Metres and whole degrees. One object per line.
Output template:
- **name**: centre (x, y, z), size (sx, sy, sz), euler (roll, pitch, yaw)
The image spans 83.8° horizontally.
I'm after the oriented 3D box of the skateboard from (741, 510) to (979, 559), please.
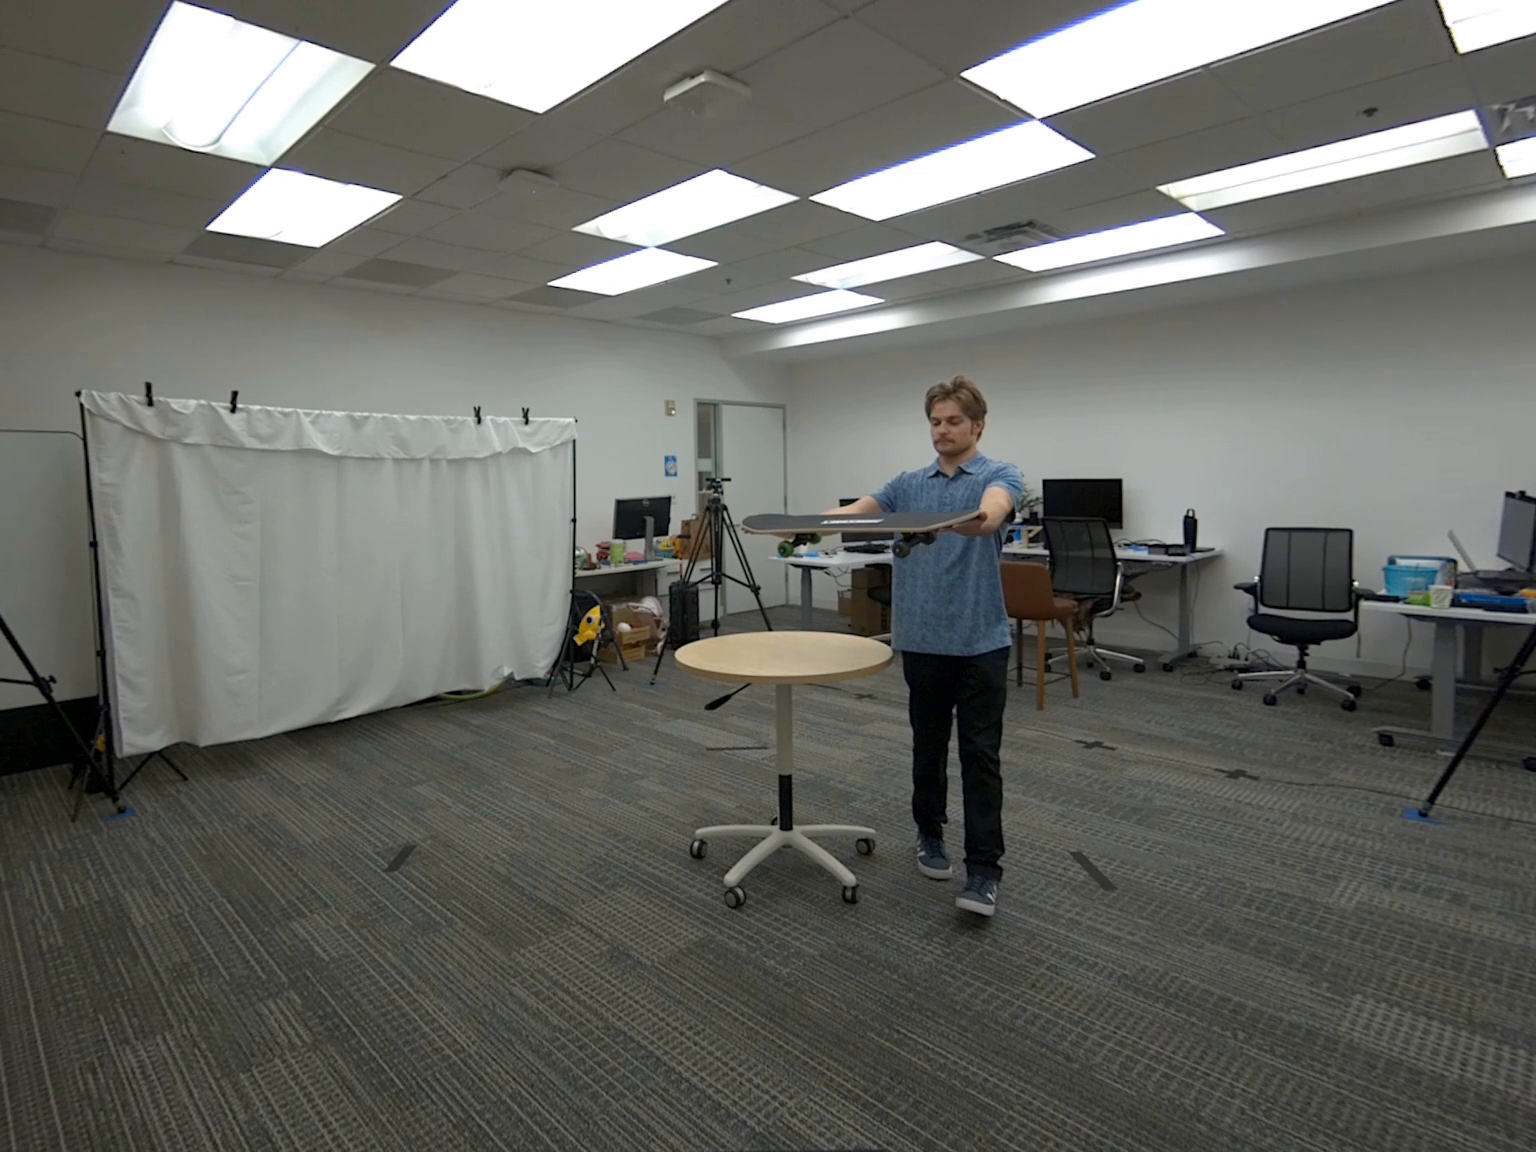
- **skateboard**: centre (0.258, -0.126, 2.510), size (0.809, 0.109, 0.190), euler (2, 18, 41)
